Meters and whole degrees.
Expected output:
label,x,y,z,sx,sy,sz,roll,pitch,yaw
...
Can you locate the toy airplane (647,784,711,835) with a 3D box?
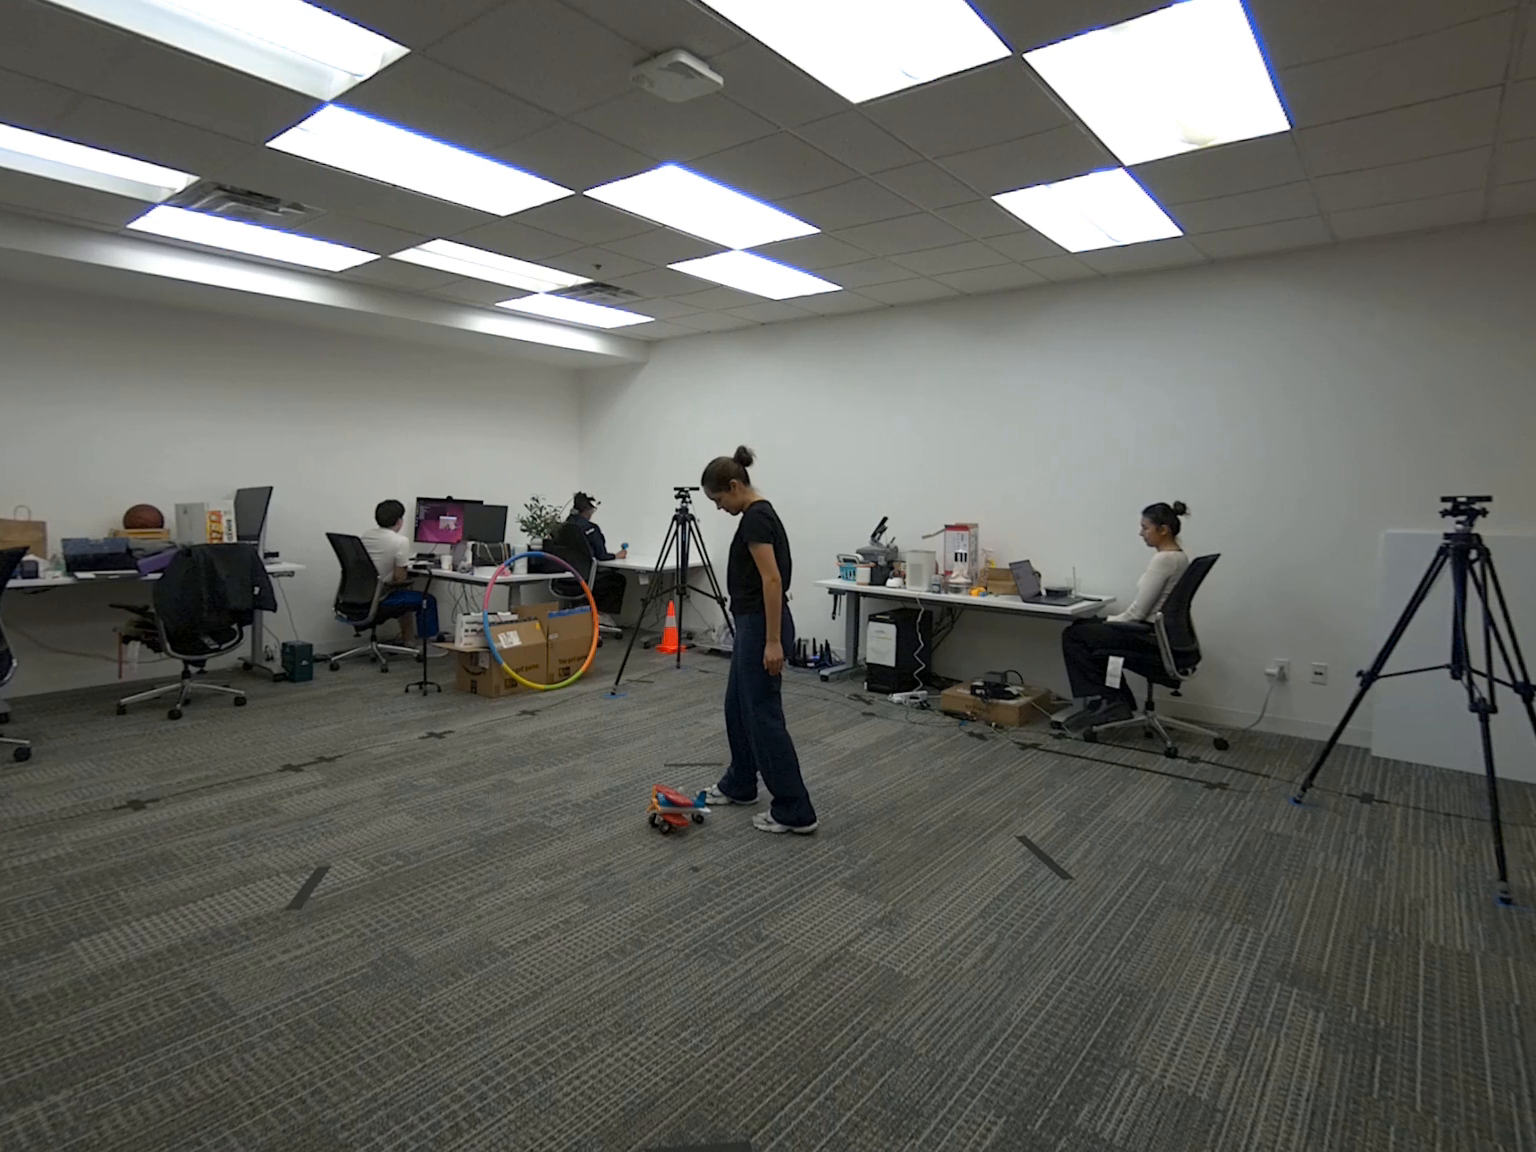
label,x,y,z,sx,sy,sz,roll,pitch,yaw
toy airplane,-0.365,0.949,3.529,0.258,0.156,0.253,2,6,31
